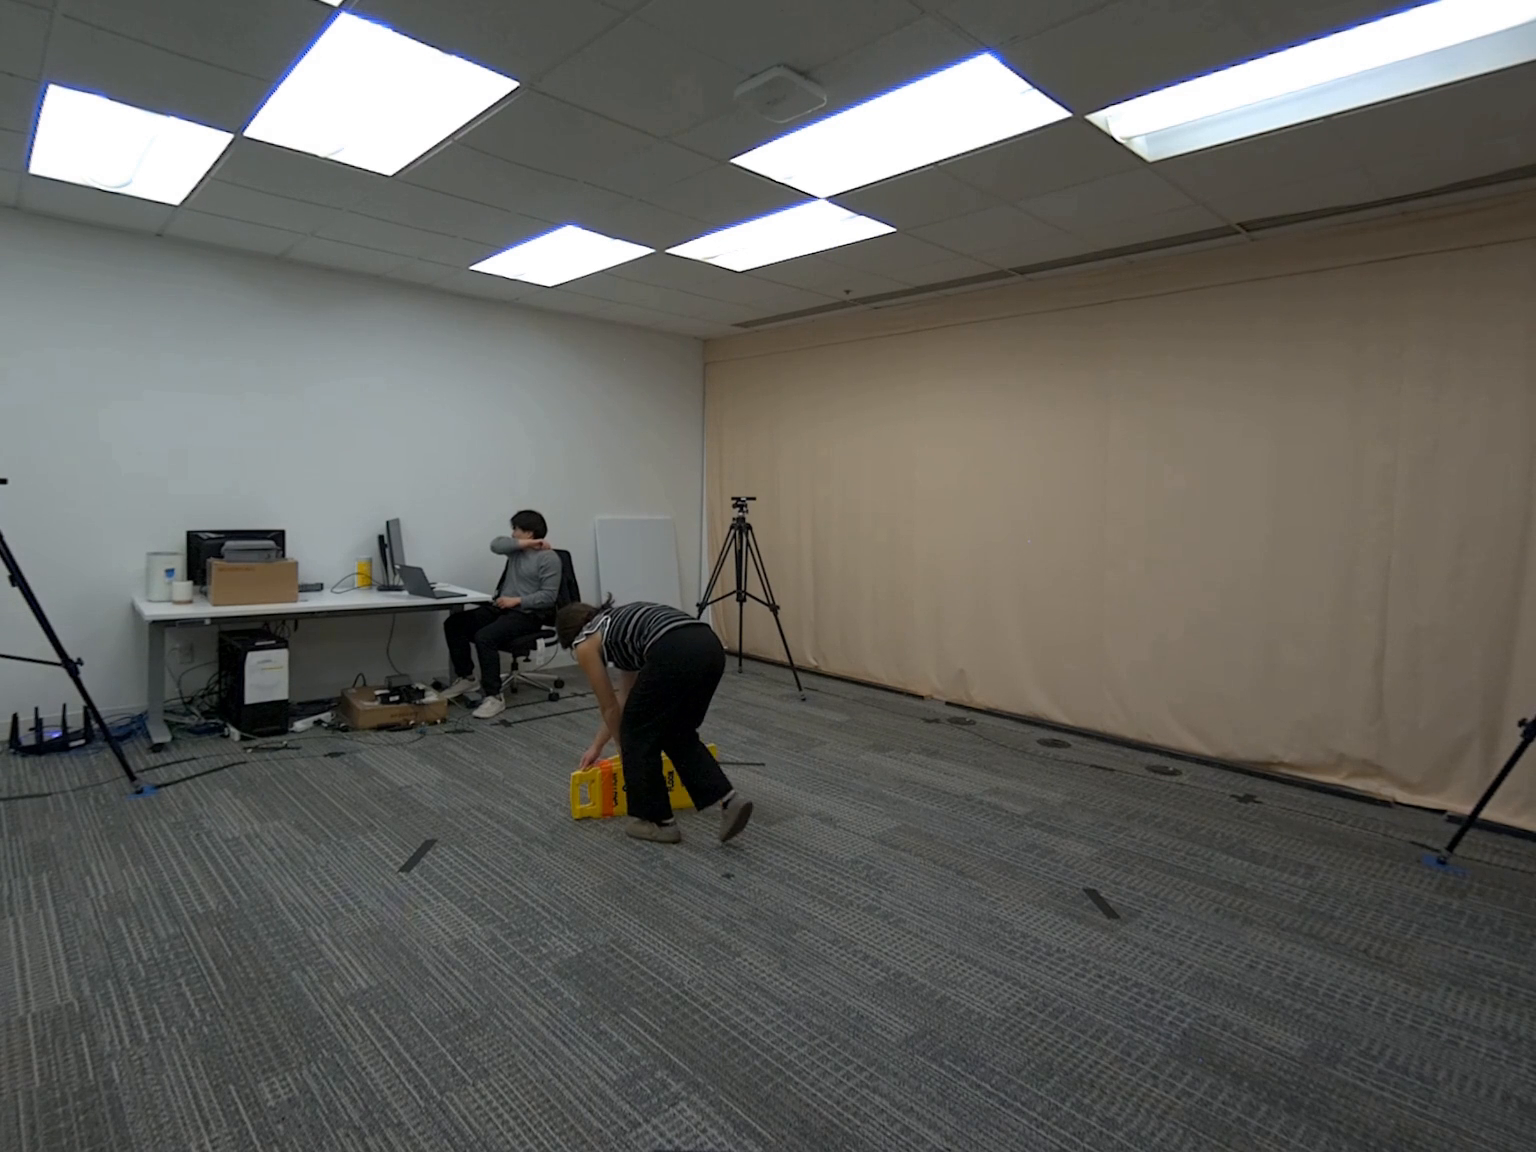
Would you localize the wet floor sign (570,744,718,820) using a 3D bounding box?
[{"bbox_3d":[-0.586,0.917,3.770,0.633,0.281,0.296,-5,6,-33],"label":"wet floor sign"}]
